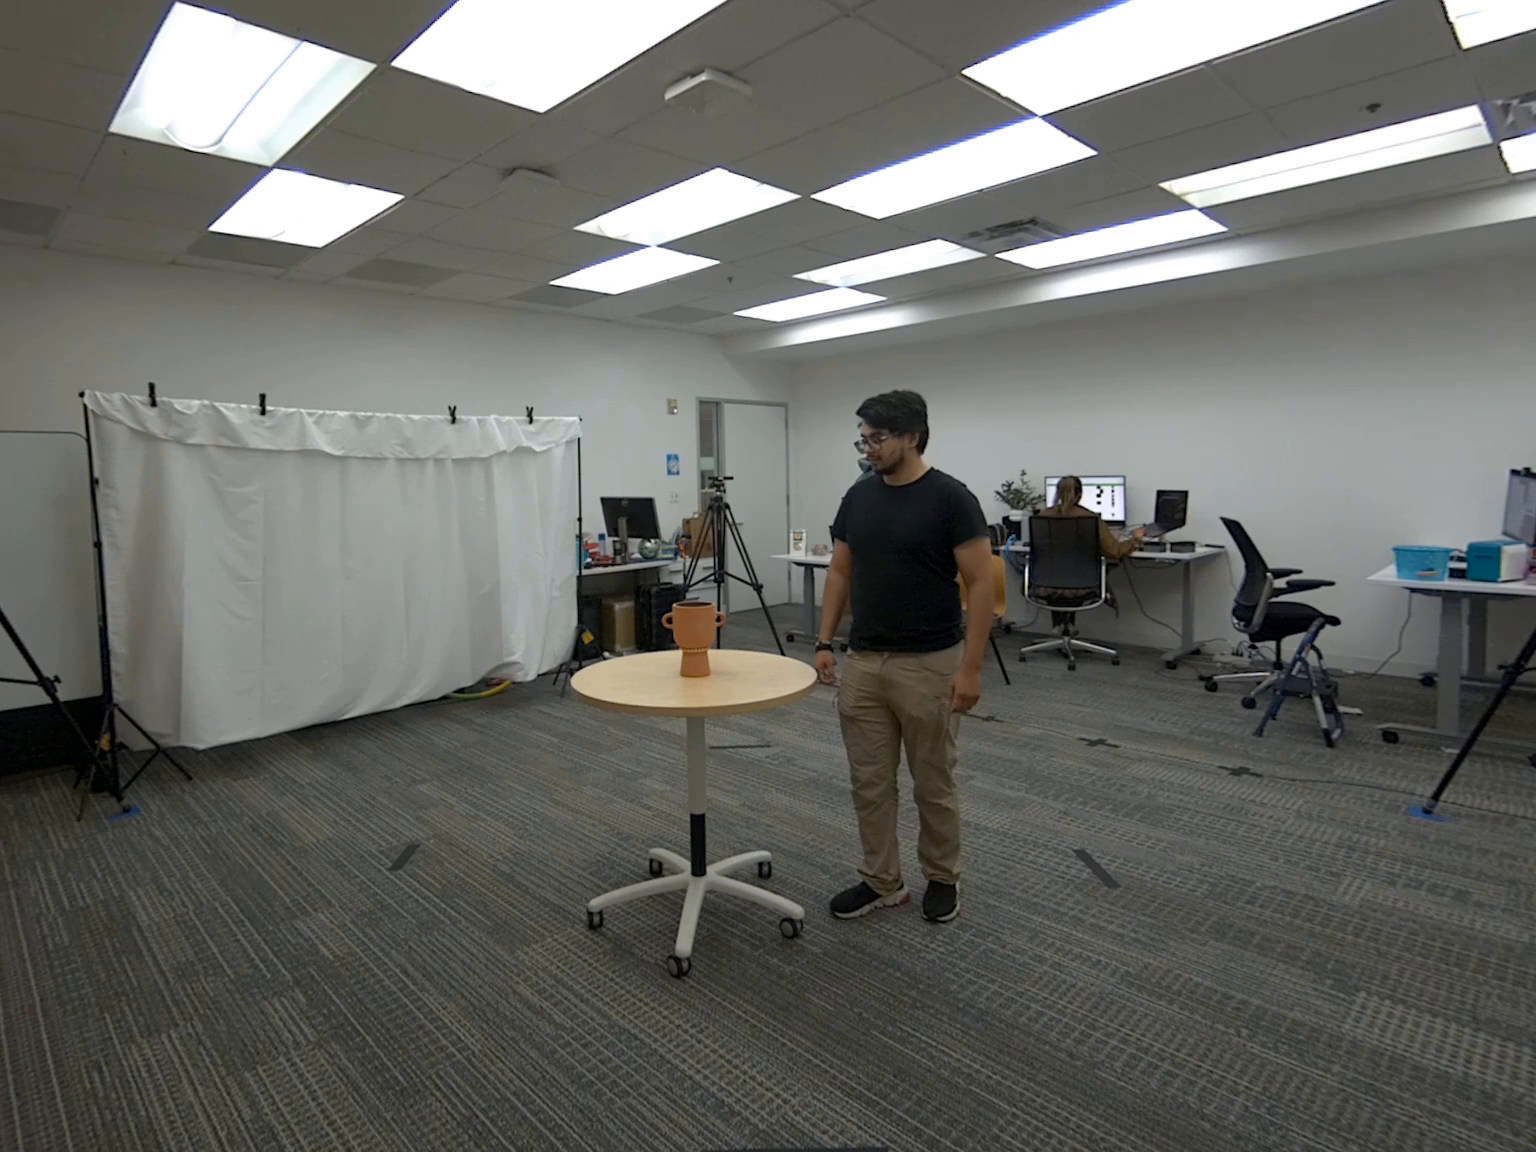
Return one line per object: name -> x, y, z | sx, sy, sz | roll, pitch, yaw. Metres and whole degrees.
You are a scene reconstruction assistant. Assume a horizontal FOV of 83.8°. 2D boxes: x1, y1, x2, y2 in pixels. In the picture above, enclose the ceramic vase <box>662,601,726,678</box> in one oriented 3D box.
ceramic vase -> -0.223, 0.197, 2.675 | 0.163, 0.219, 0.131 | 1, 4, 33
